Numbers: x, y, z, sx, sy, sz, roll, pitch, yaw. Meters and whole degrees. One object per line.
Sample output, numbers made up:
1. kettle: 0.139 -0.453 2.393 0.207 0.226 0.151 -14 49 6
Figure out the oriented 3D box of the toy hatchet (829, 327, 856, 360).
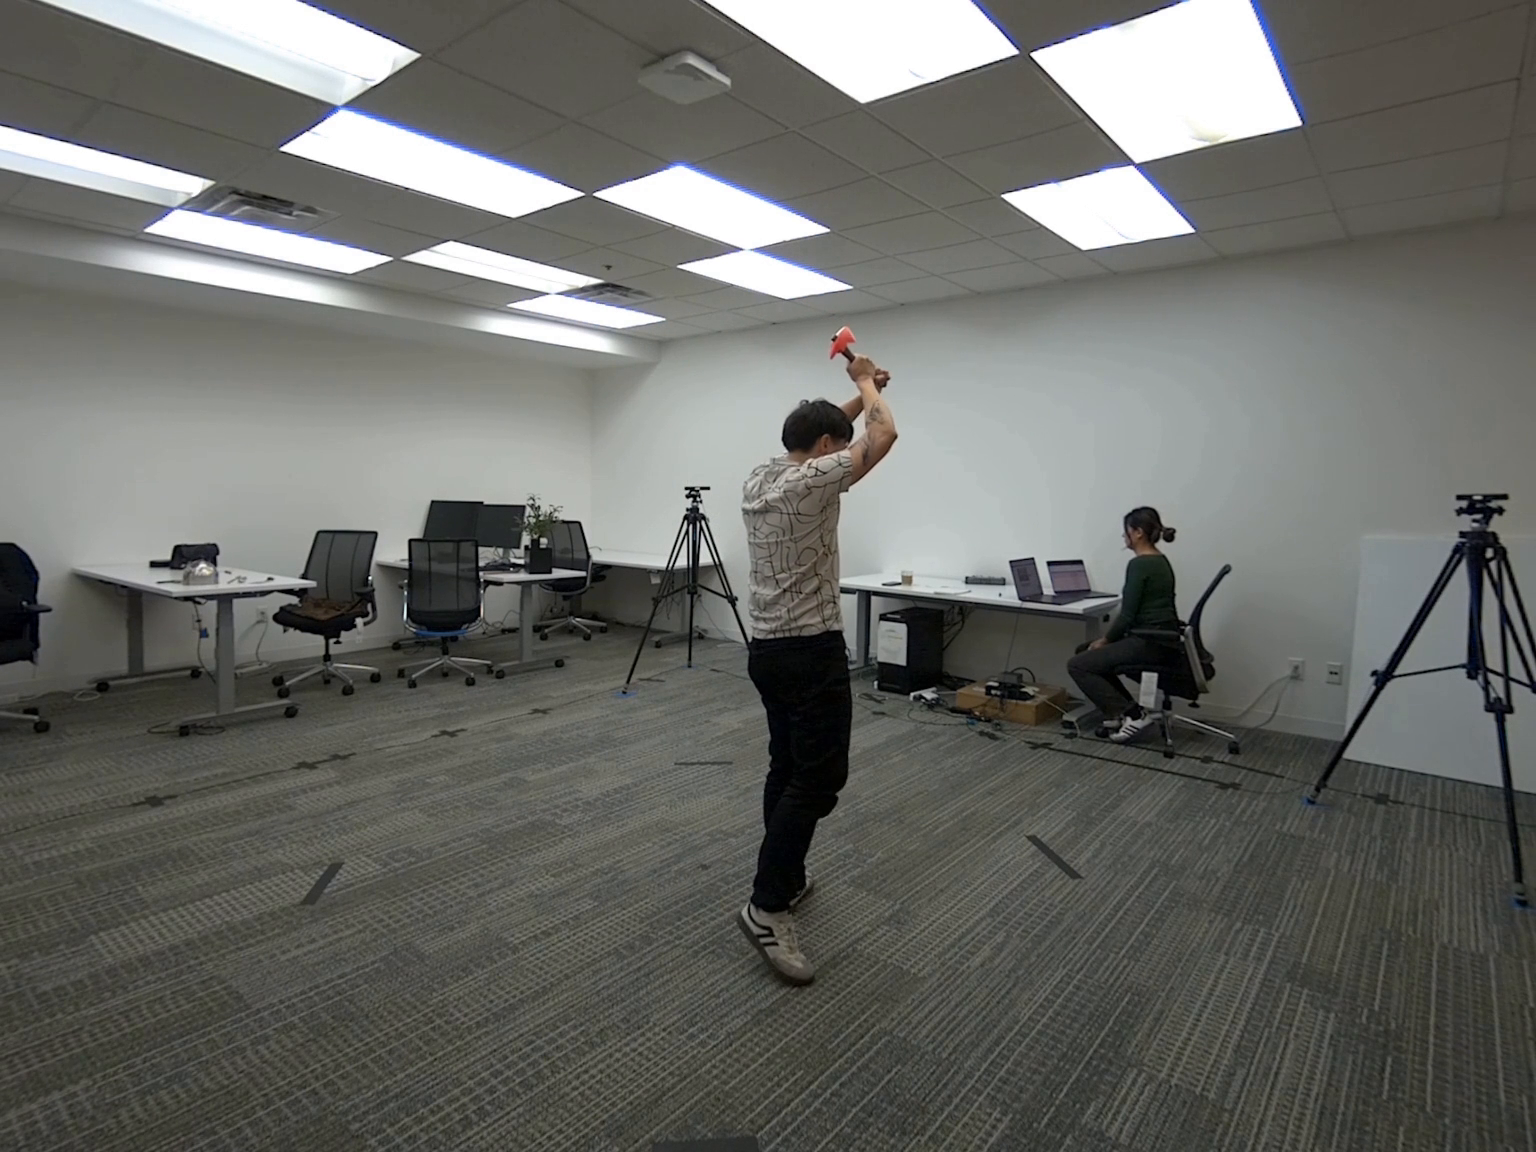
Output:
1. toy hatchet: 0.300 -0.734 2.792 0.261 0.132 0.030 15 -15 -33
